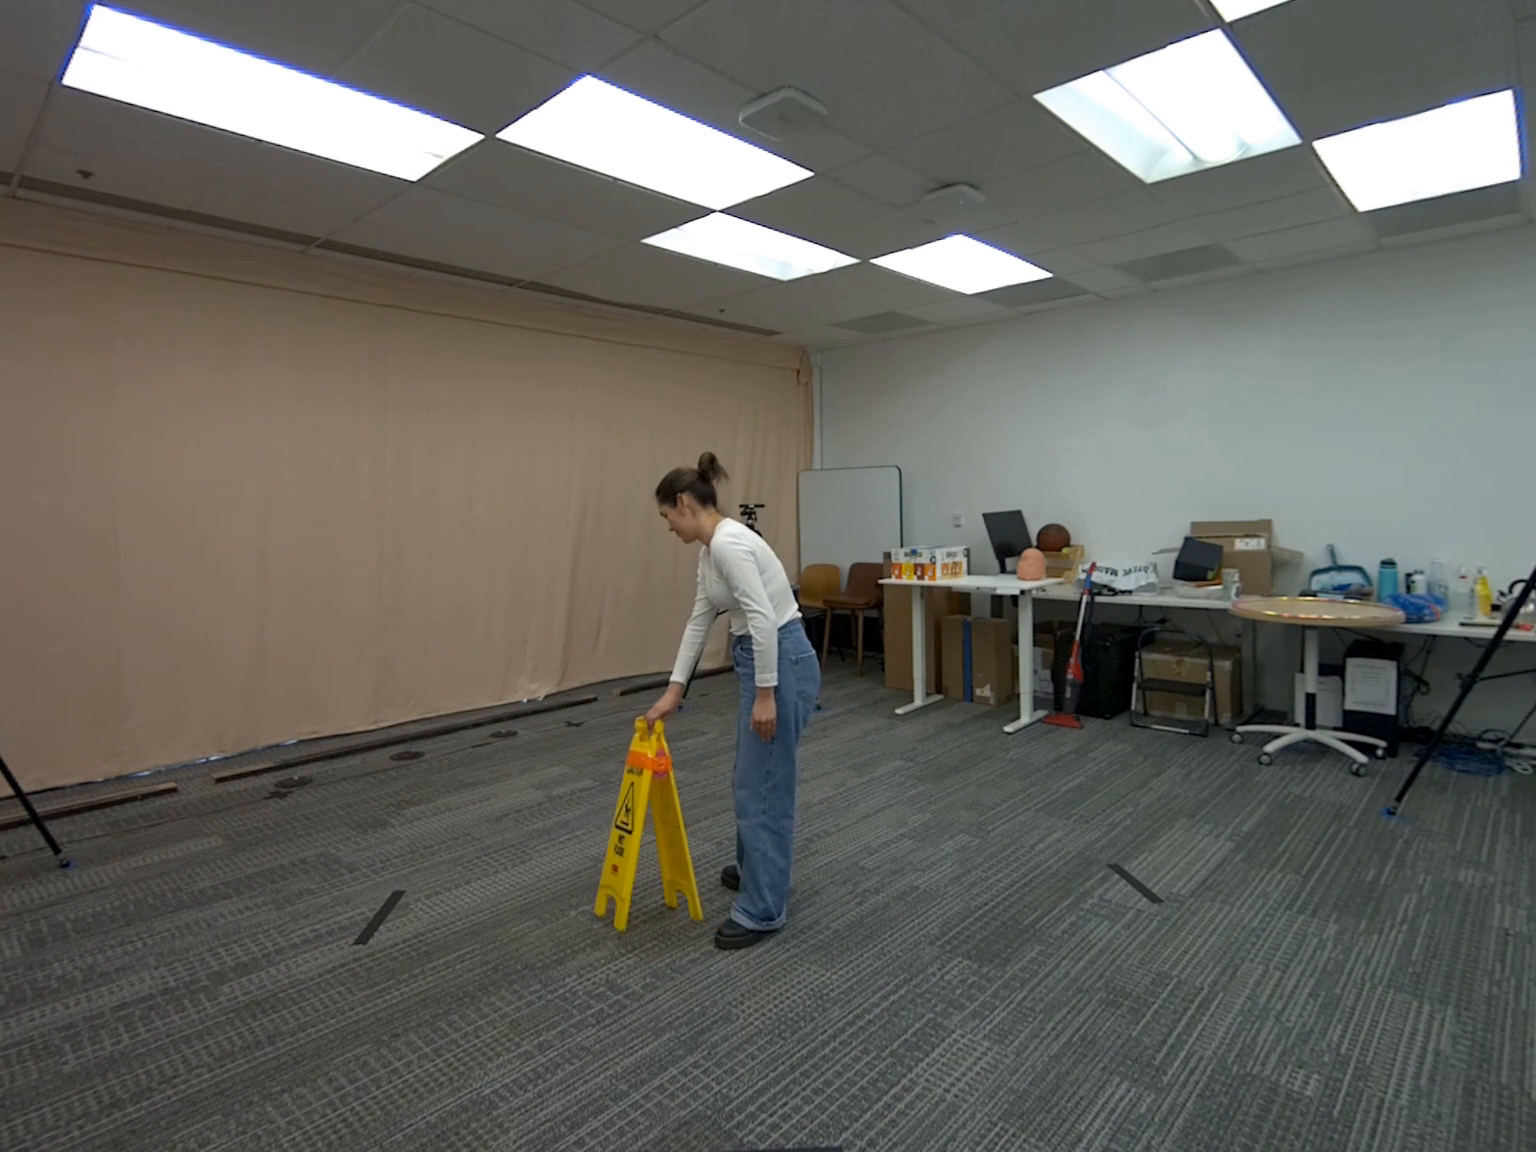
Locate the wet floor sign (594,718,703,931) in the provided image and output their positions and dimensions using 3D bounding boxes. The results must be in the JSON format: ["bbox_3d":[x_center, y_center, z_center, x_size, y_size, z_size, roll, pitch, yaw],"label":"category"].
[{"bbox_3d":[-0.397,0.812,2.844,0.282,0.650,0.288,5,-10,-28],"label":"wet floor sign"}]
